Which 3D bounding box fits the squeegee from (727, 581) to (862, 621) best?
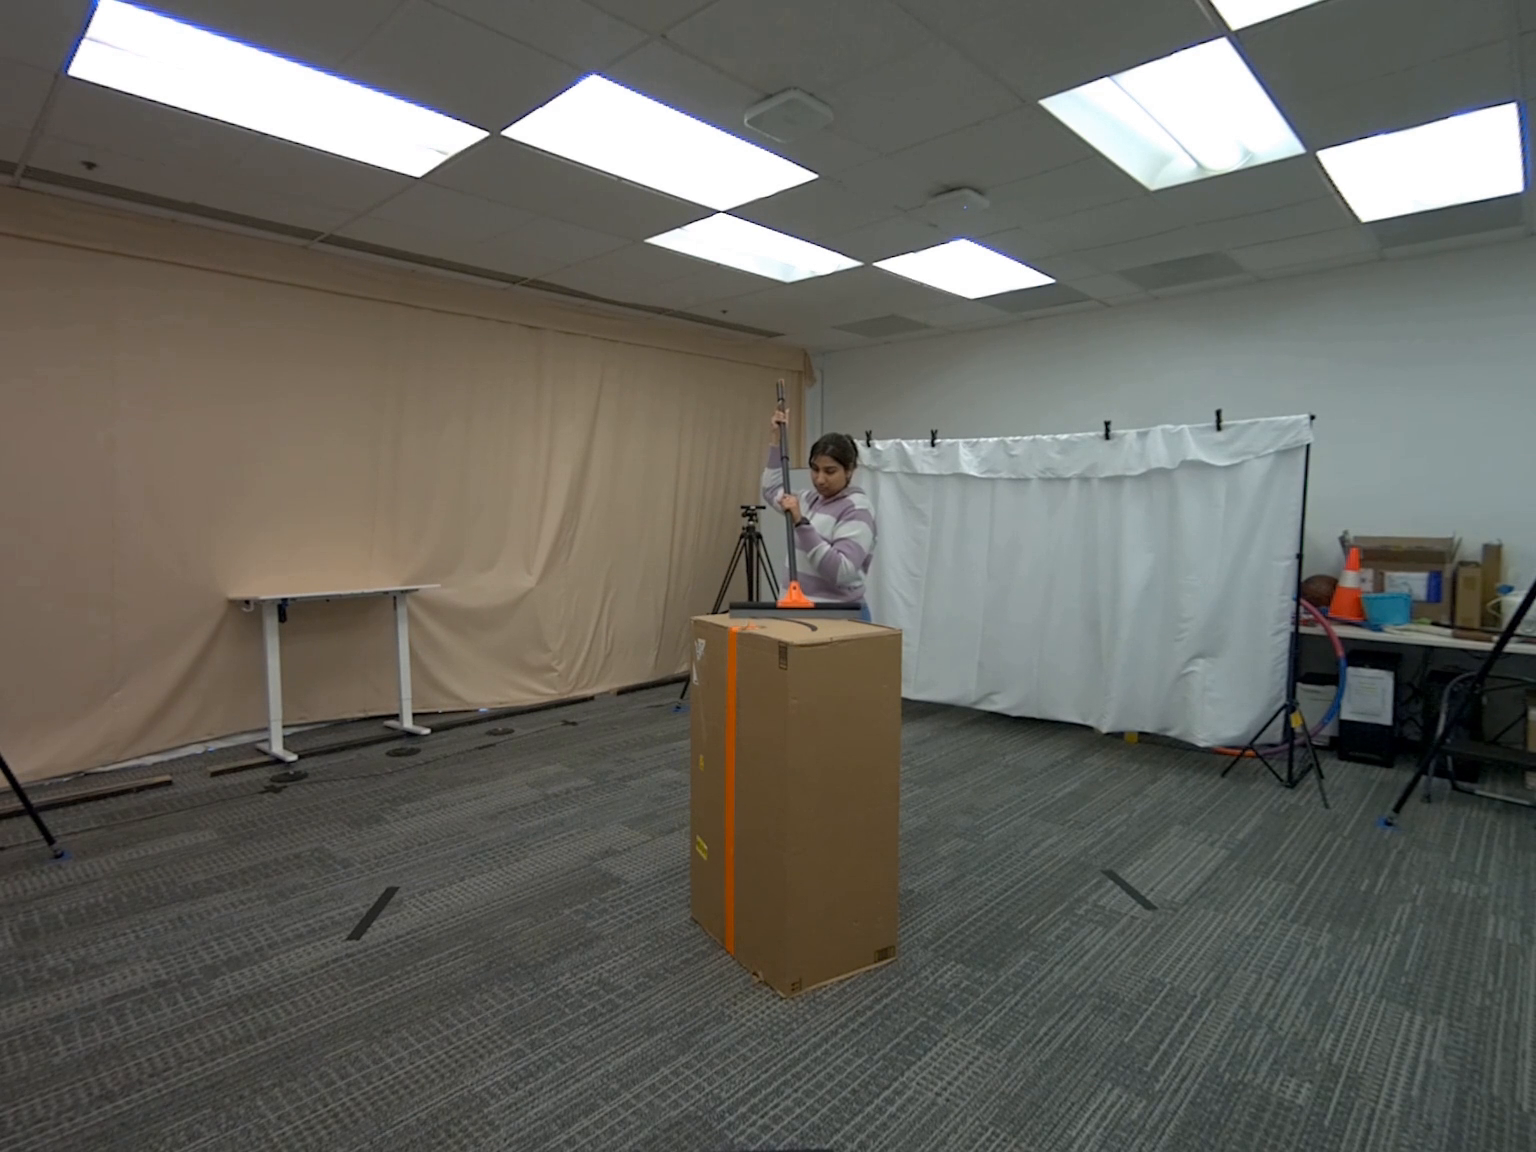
[{"bbox_3d":[0.036,-0.386,3.340,0.437,0.052,1.567,0,42,-2],"label":"squeegee"}]
